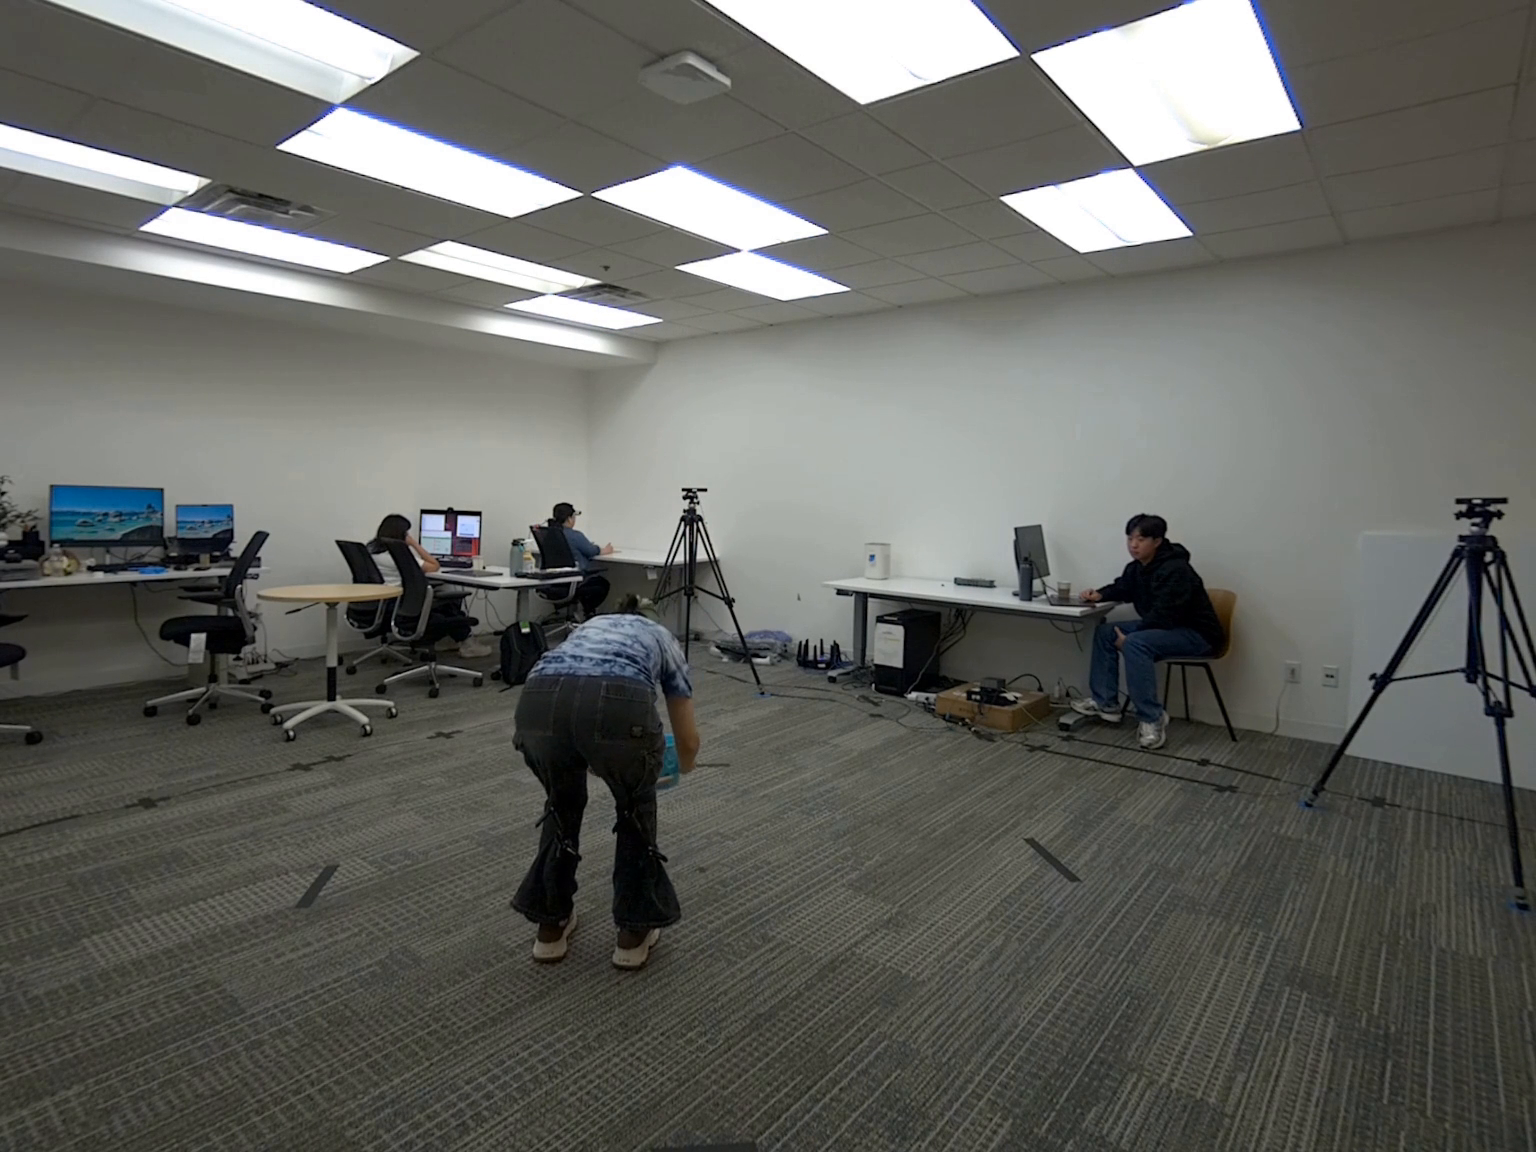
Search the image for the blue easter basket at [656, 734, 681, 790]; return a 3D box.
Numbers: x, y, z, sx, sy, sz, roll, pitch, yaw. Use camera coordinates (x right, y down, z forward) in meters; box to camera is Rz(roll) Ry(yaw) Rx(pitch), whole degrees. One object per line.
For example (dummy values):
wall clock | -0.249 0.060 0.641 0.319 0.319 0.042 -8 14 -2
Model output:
blue easter basket | -0.418 0.657 3.033 0.243 0.156 0.244 -5 1 -2
